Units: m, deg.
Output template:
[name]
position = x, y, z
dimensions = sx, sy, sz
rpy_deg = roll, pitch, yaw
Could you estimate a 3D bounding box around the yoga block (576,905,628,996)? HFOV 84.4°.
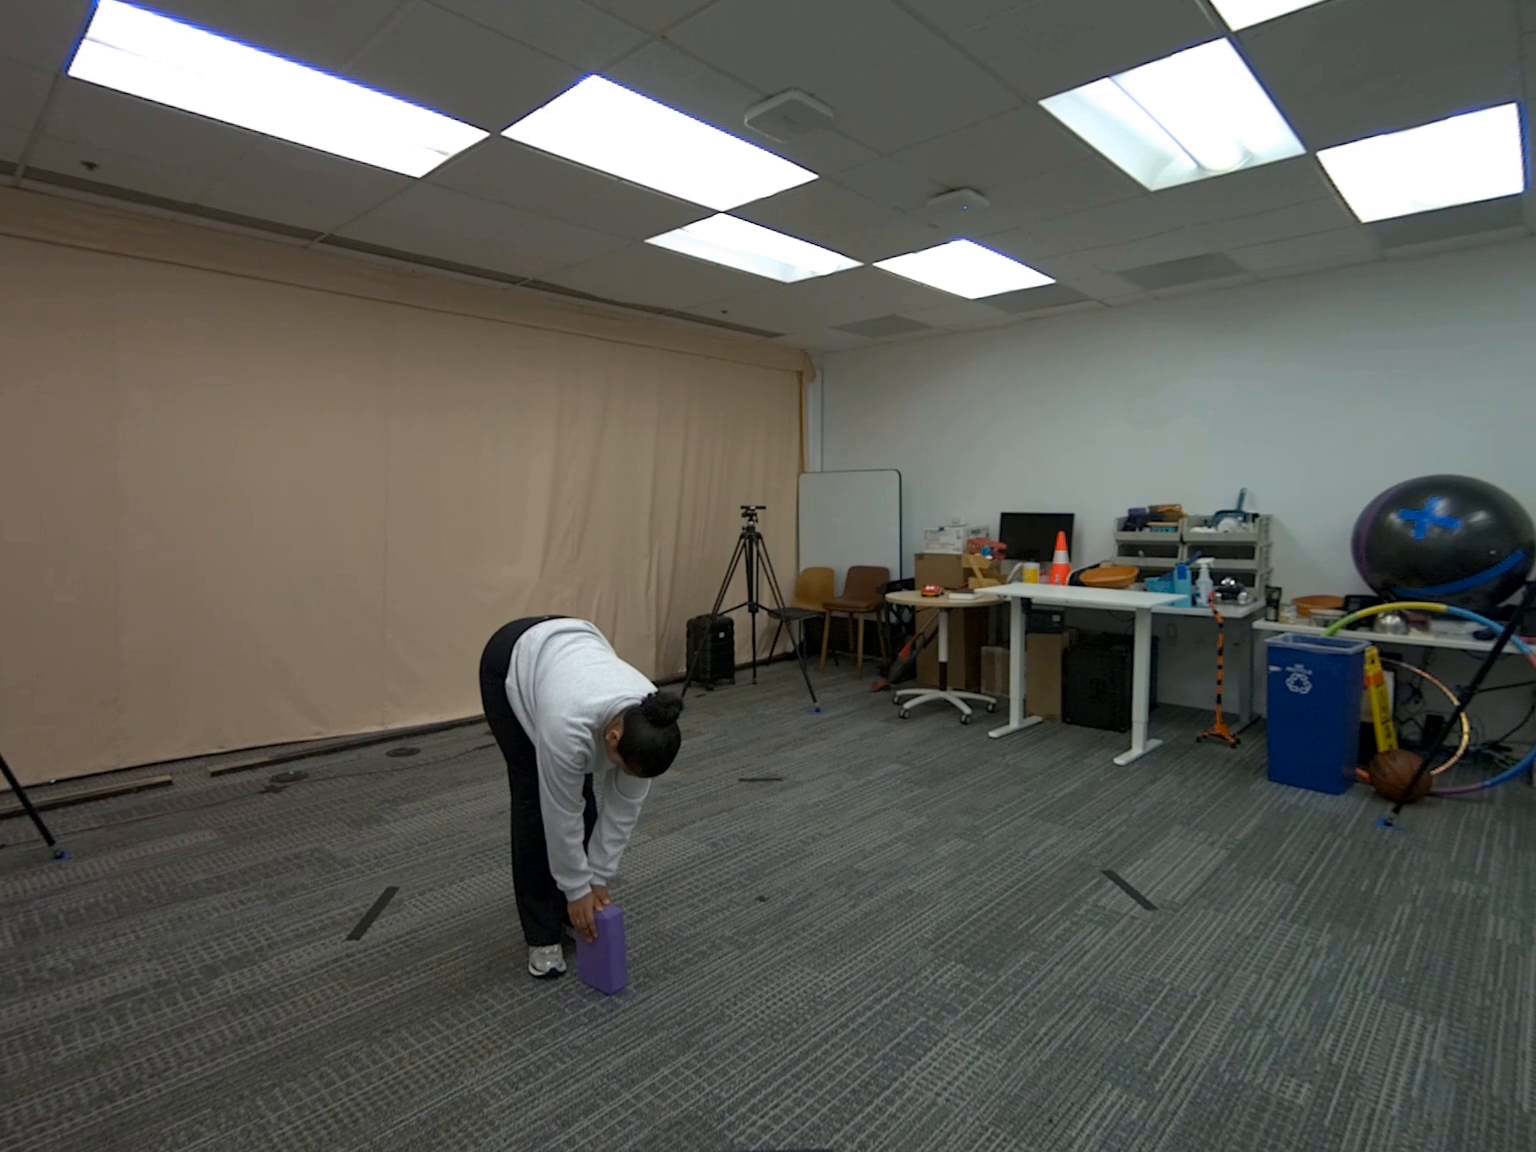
[yoga block]
position = -0.483, 1.073, 2.448
dimensions = 0.154, 0.228, 0.074
rpy_deg = 1, 6, 41
